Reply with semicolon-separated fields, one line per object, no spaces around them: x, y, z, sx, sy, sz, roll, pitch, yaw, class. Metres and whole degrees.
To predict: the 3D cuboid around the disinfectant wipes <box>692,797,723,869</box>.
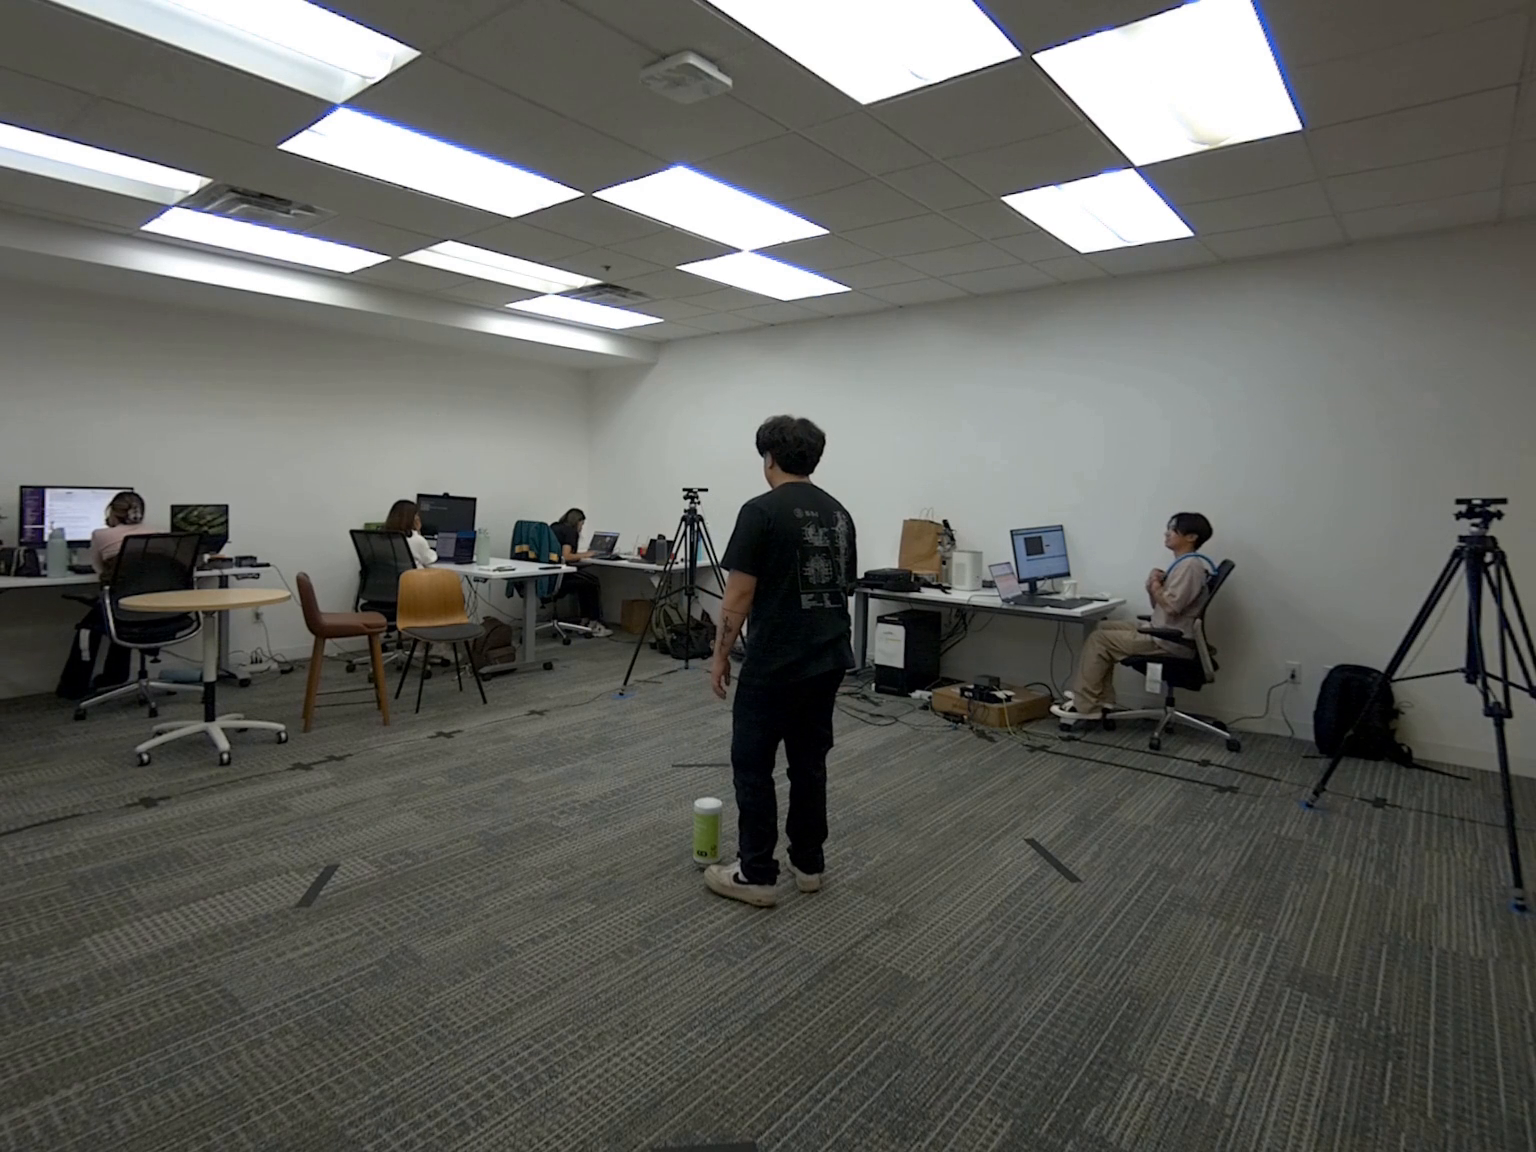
-0.238;0.955;3.198;0.118;0.217;0.118;1;4;-2;disinfectant wipes
